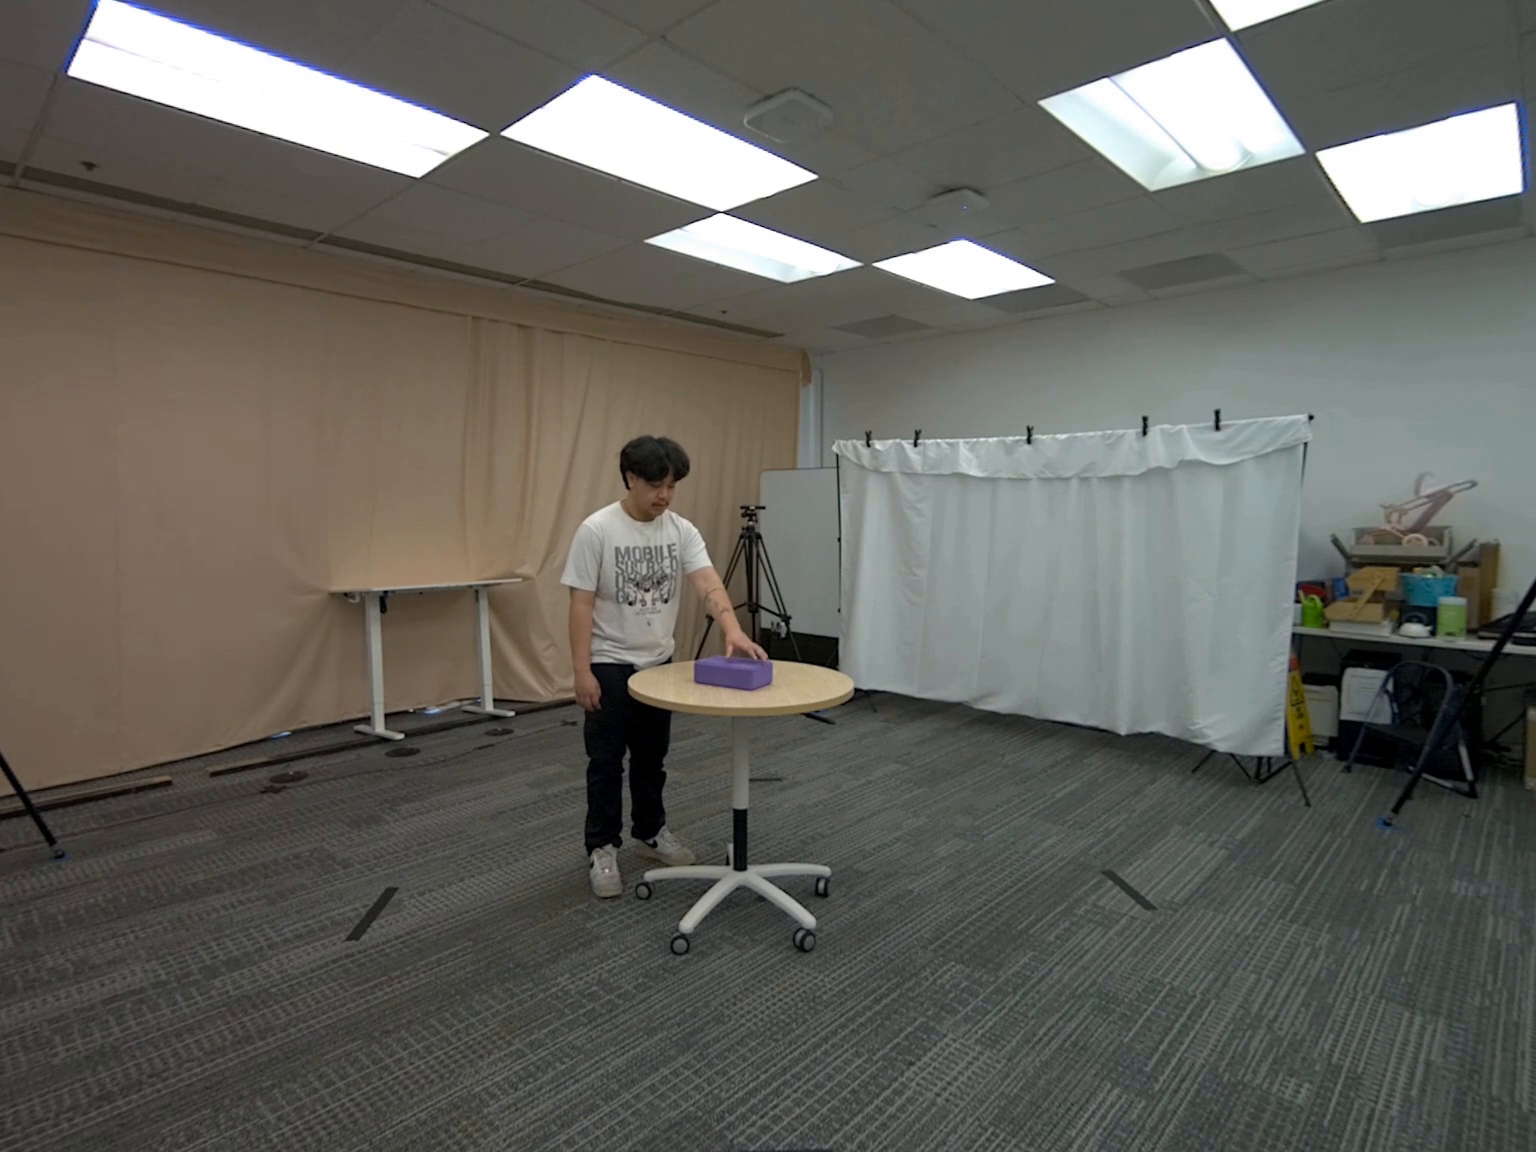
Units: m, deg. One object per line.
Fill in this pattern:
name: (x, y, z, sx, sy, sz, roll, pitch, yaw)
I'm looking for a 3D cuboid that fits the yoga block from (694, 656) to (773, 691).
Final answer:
yoga block: (-0.114, 0.322, 2.814, 0.236, 0.076, 0.145, 3, 6, 30)
